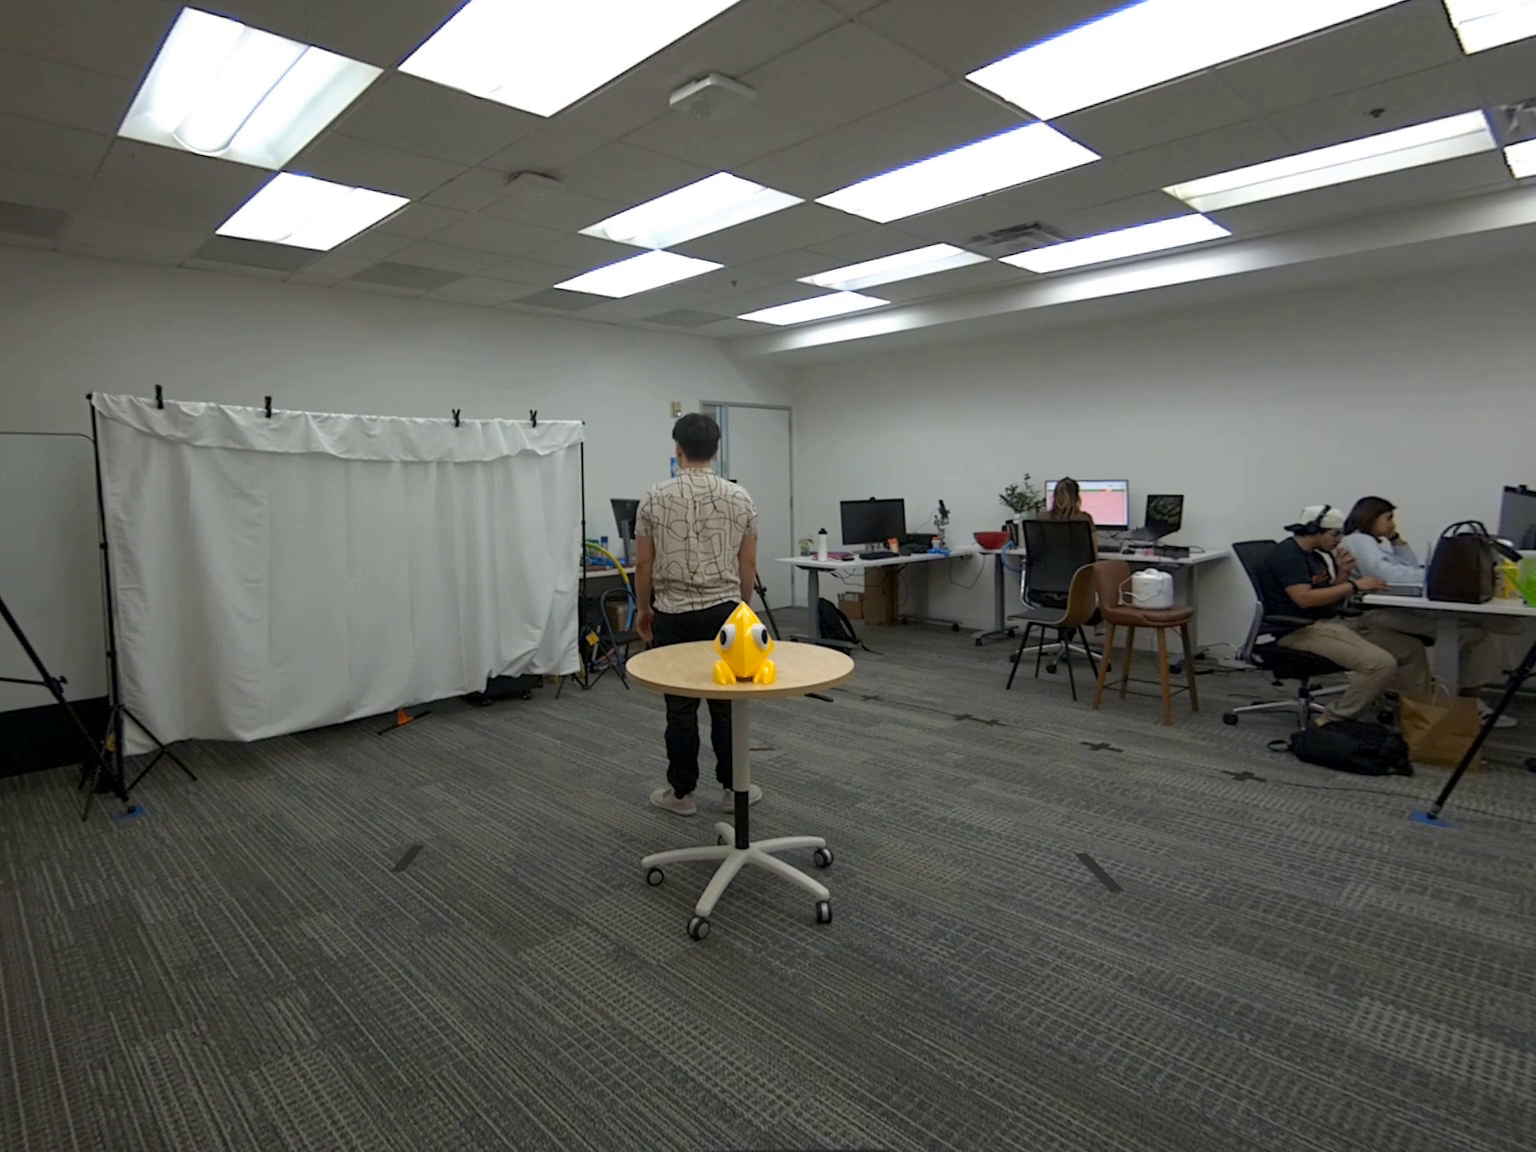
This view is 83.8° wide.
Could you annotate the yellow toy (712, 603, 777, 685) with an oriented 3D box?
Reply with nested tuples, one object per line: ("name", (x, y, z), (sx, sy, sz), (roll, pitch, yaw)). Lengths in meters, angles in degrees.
("yellow toy", (-0.077, 0.204, 2.656), (0.205, 0.230, 0.194), (0, 5, 0))
